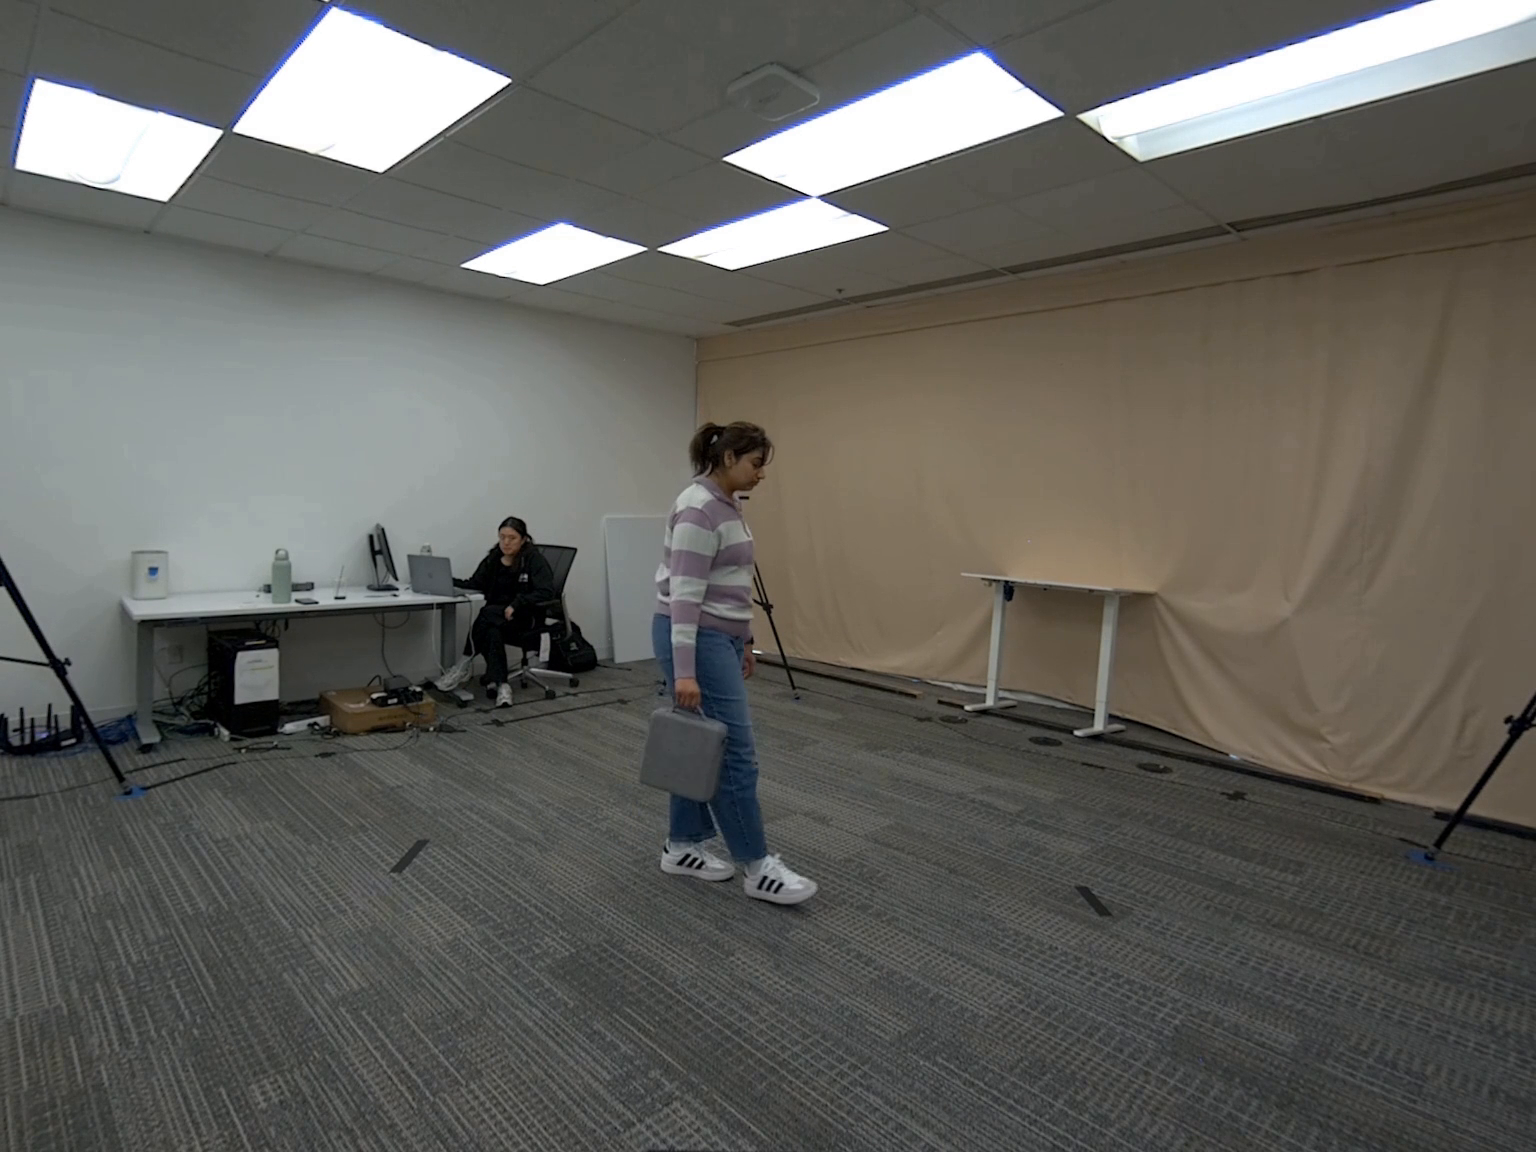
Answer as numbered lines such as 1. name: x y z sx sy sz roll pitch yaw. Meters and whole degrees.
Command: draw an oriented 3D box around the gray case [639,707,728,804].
1. gray case: -0.277 0.575 2.717 0.261 0.260 0.103 10 3 16
